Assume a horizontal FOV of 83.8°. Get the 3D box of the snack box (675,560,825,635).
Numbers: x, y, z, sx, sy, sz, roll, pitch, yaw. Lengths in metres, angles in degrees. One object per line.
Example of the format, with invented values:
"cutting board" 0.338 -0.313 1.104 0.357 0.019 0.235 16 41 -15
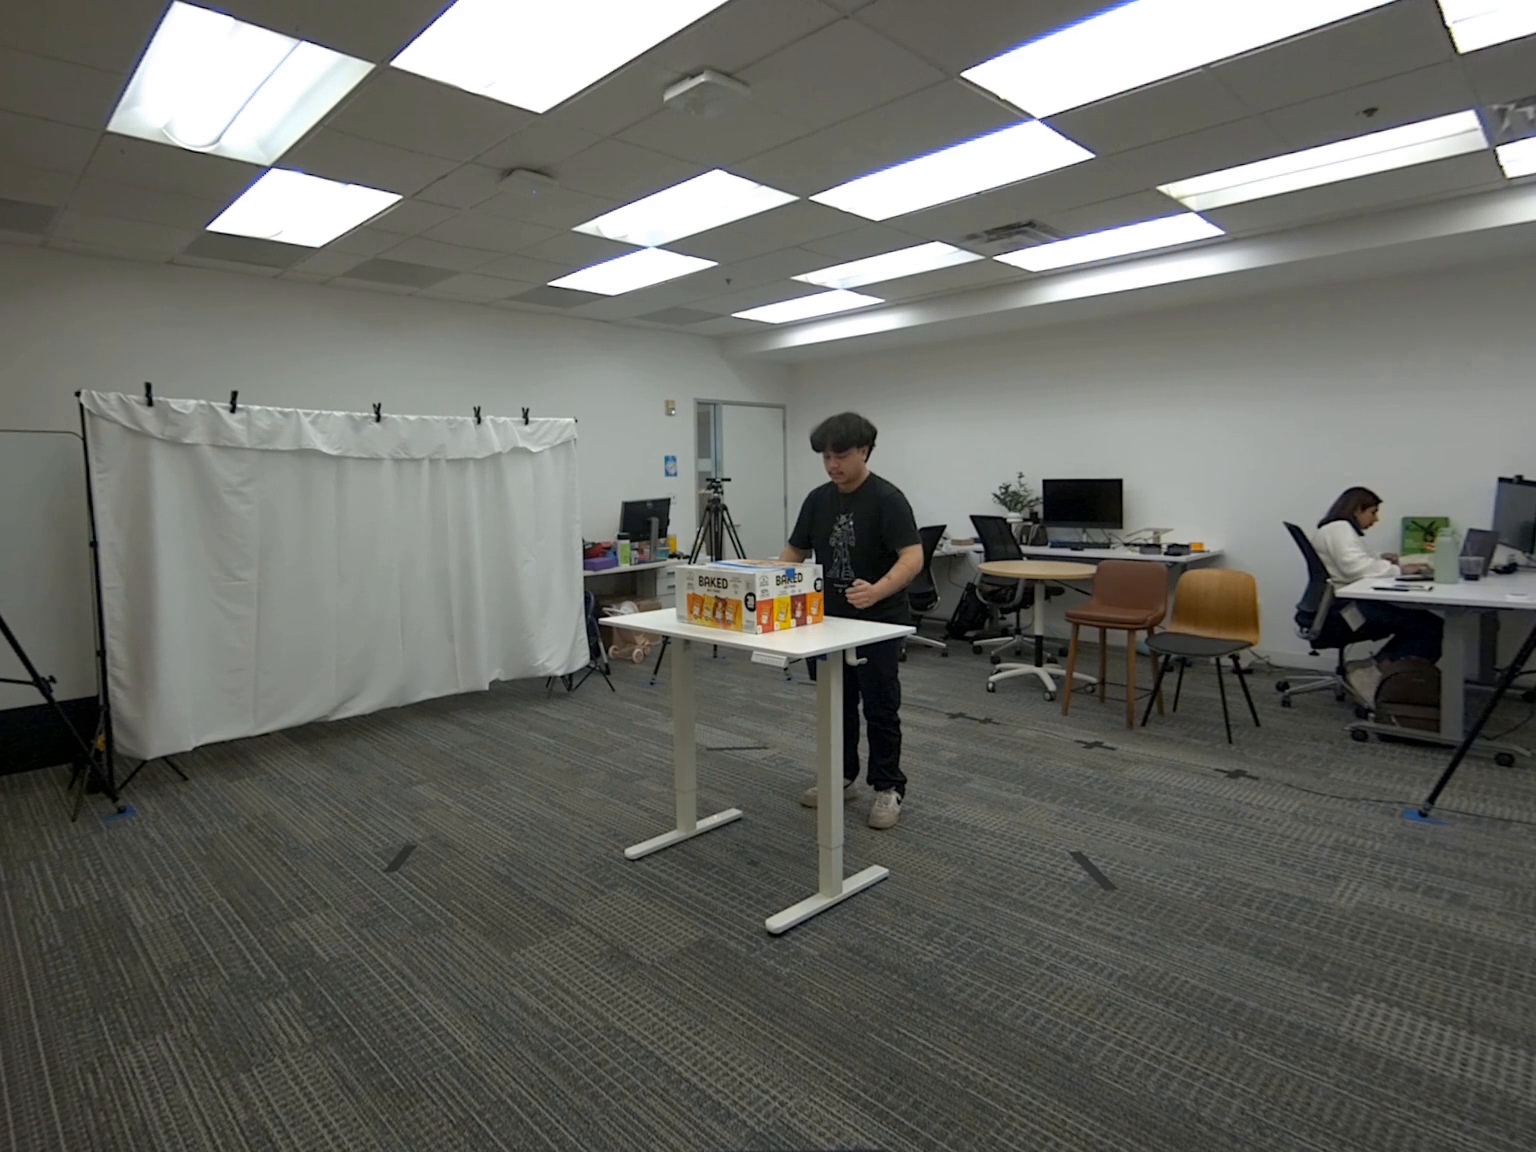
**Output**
"snack box" -0.069 0.064 3.046 0.331 0.205 0.417 -6 7 -45
